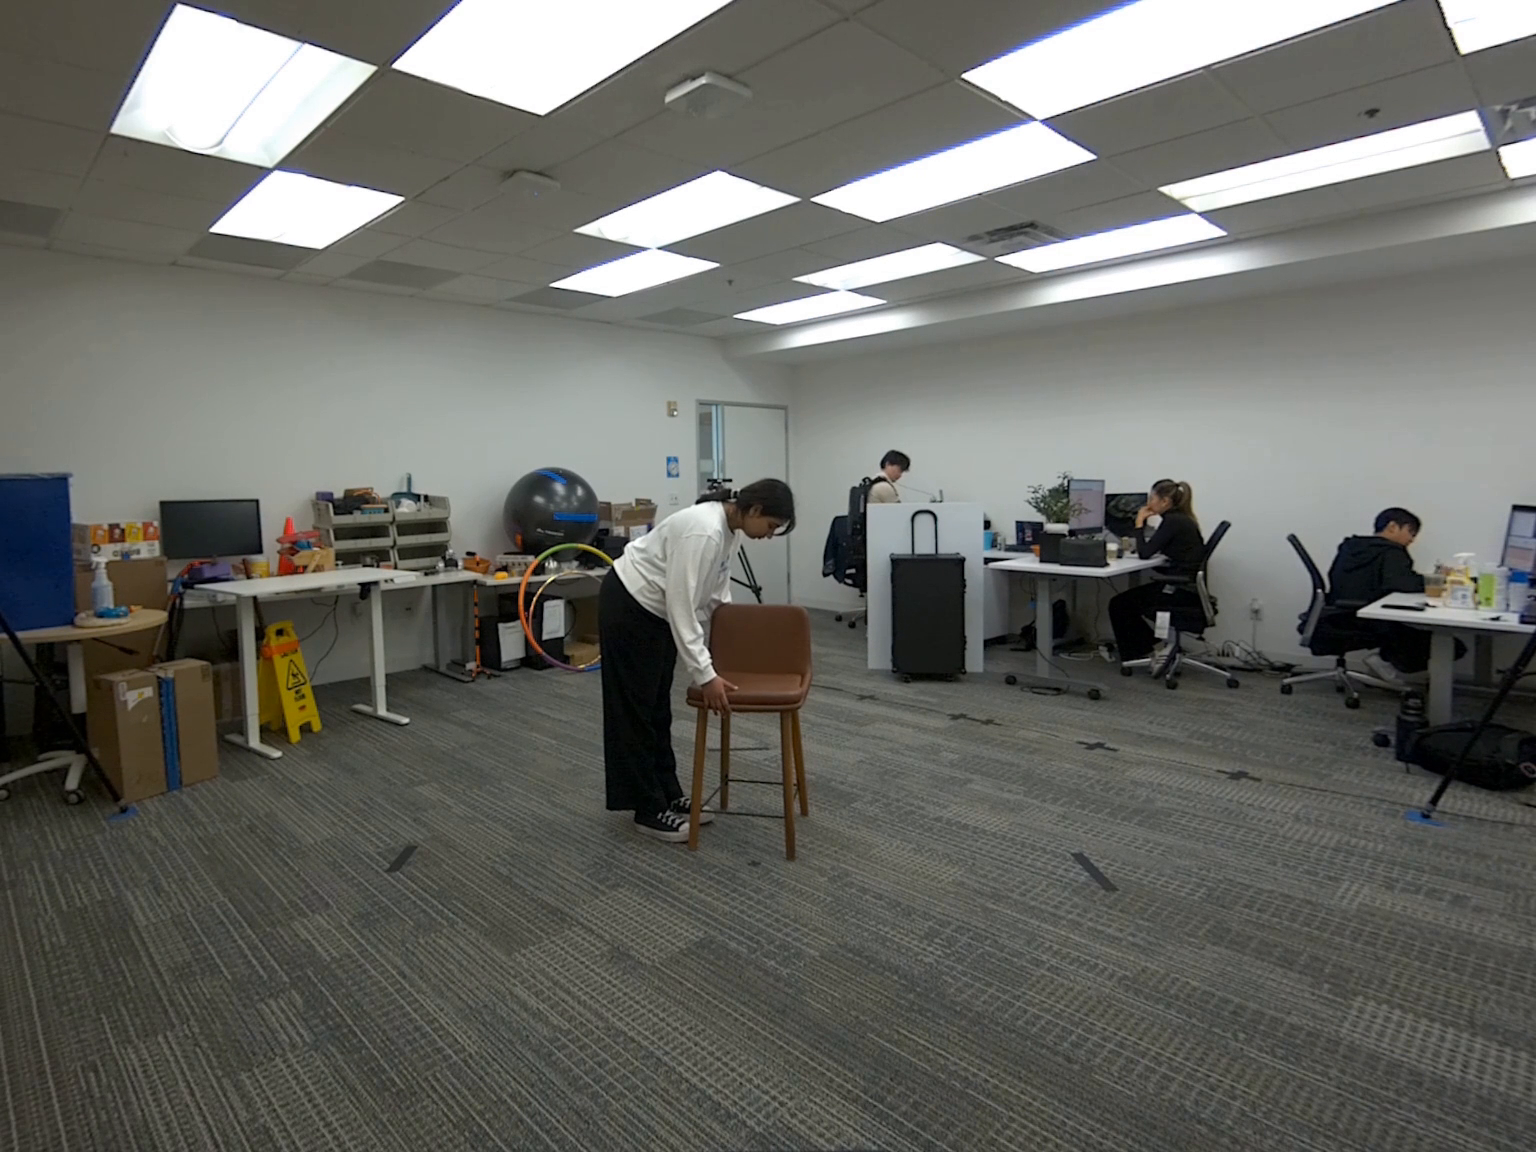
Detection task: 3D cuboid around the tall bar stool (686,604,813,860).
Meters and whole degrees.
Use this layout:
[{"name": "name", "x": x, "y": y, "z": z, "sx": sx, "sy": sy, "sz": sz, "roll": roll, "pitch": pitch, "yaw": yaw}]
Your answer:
[{"name": "tall bar stool", "x": -0.065, "y": 0.579, "z": 3.365, "sx": 0.463, "sy": 0.888, "sz": 0.462, "roll": 0, "pitch": 2, "yaw": 15}]
